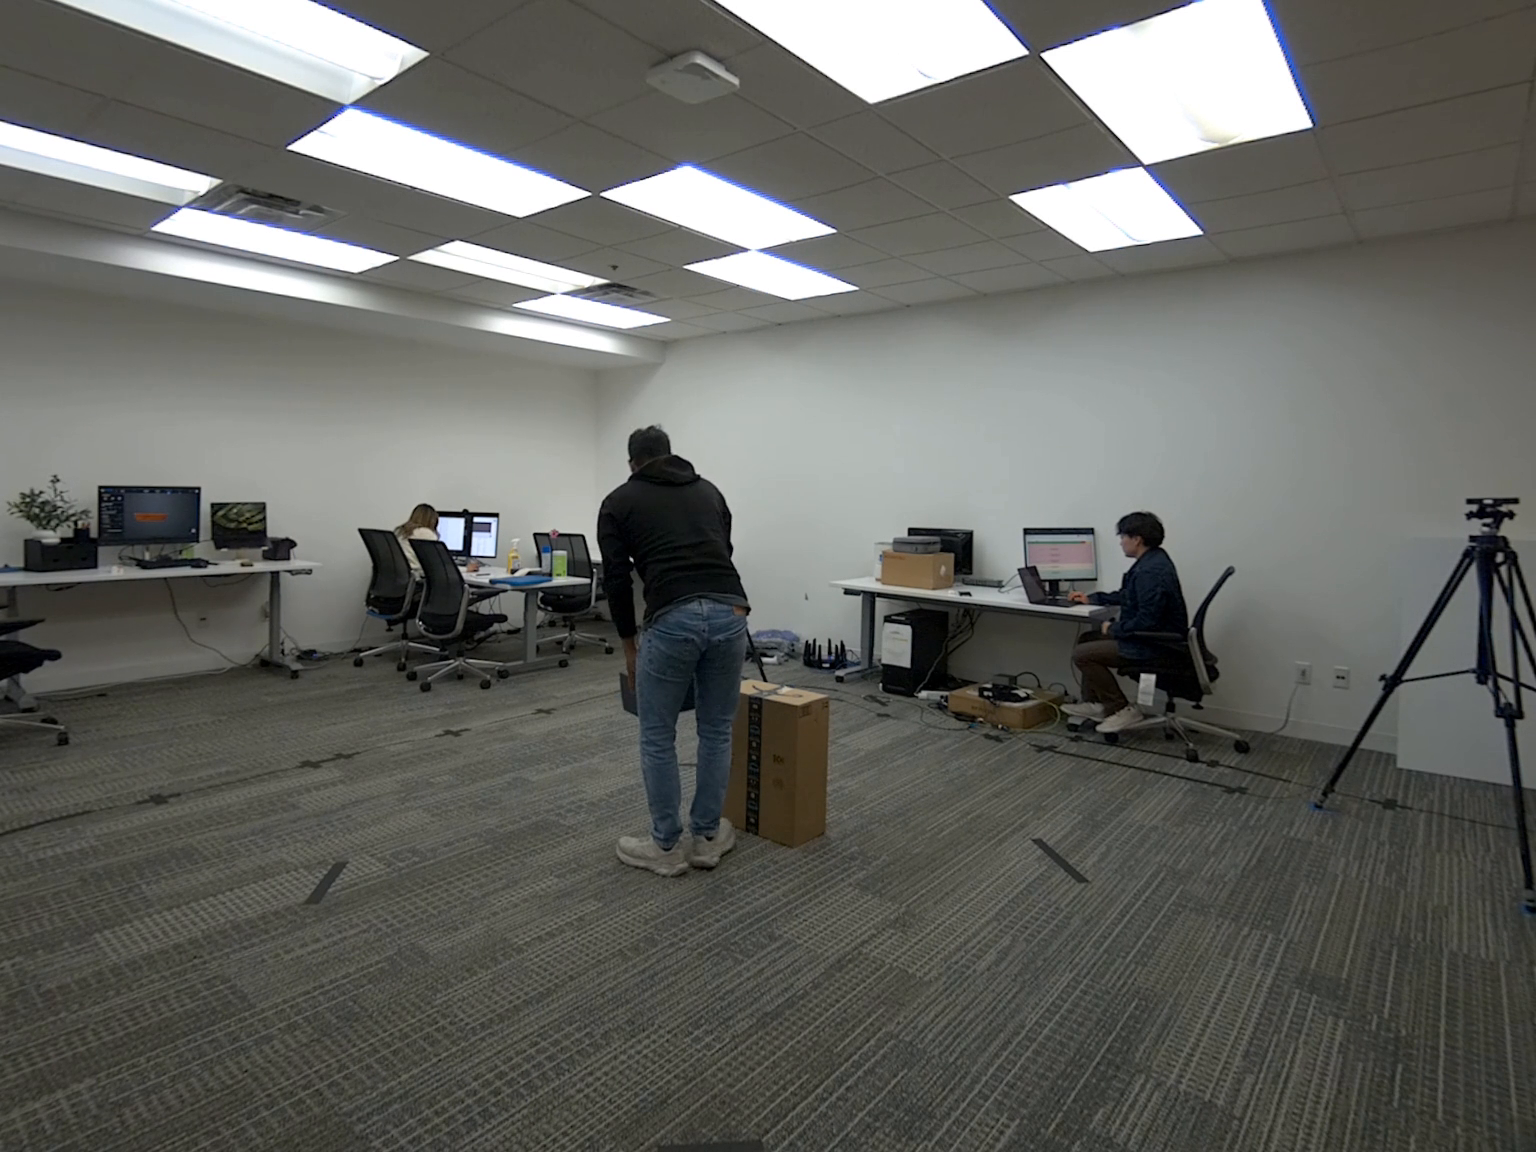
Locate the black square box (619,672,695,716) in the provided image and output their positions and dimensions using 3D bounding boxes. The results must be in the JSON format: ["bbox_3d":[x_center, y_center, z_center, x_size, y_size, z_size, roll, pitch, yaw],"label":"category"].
[{"bbox_3d":[-0.446,0.450,3.349,0.222,0.155,0.223,-7,5,-28],"label":"black square box"}]
